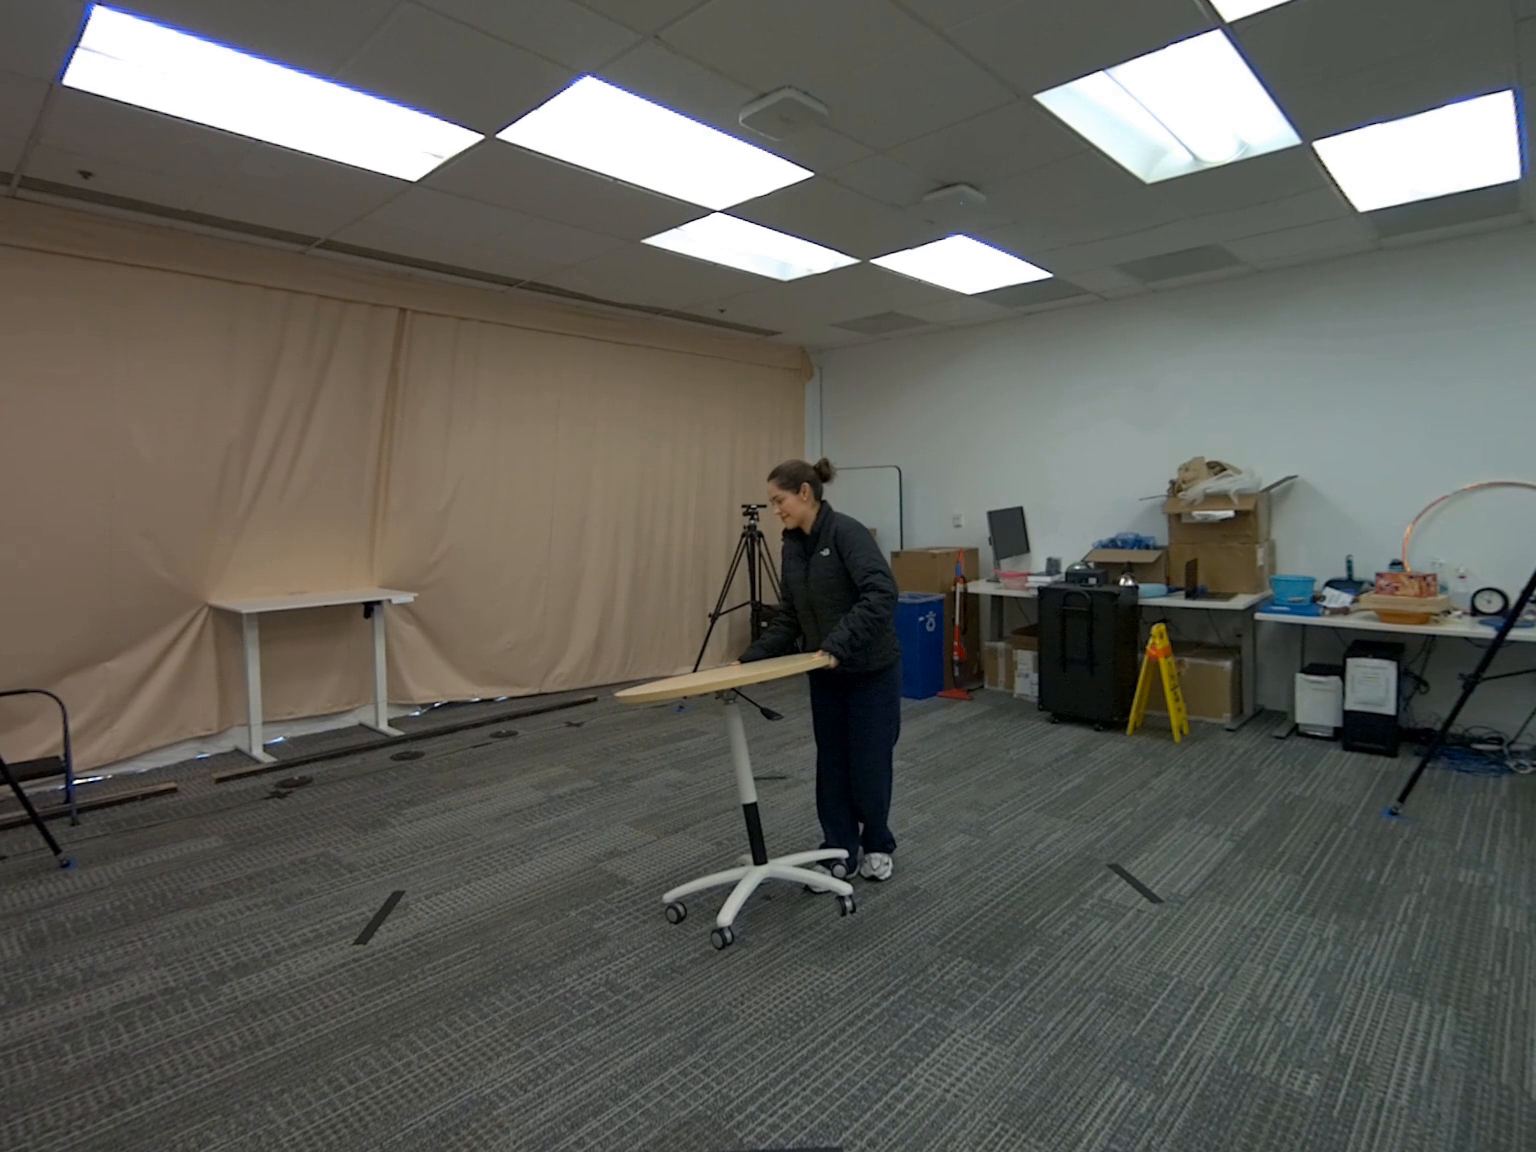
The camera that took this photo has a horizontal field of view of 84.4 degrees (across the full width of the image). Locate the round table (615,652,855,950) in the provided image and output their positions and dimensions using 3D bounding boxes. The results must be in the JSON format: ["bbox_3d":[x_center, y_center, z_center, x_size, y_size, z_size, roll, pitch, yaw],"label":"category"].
[{"bbox_3d":[-0.042,0.714,2.837,0.784,0.789,0.784,-10,-4,-3],"label":"round table"}]
